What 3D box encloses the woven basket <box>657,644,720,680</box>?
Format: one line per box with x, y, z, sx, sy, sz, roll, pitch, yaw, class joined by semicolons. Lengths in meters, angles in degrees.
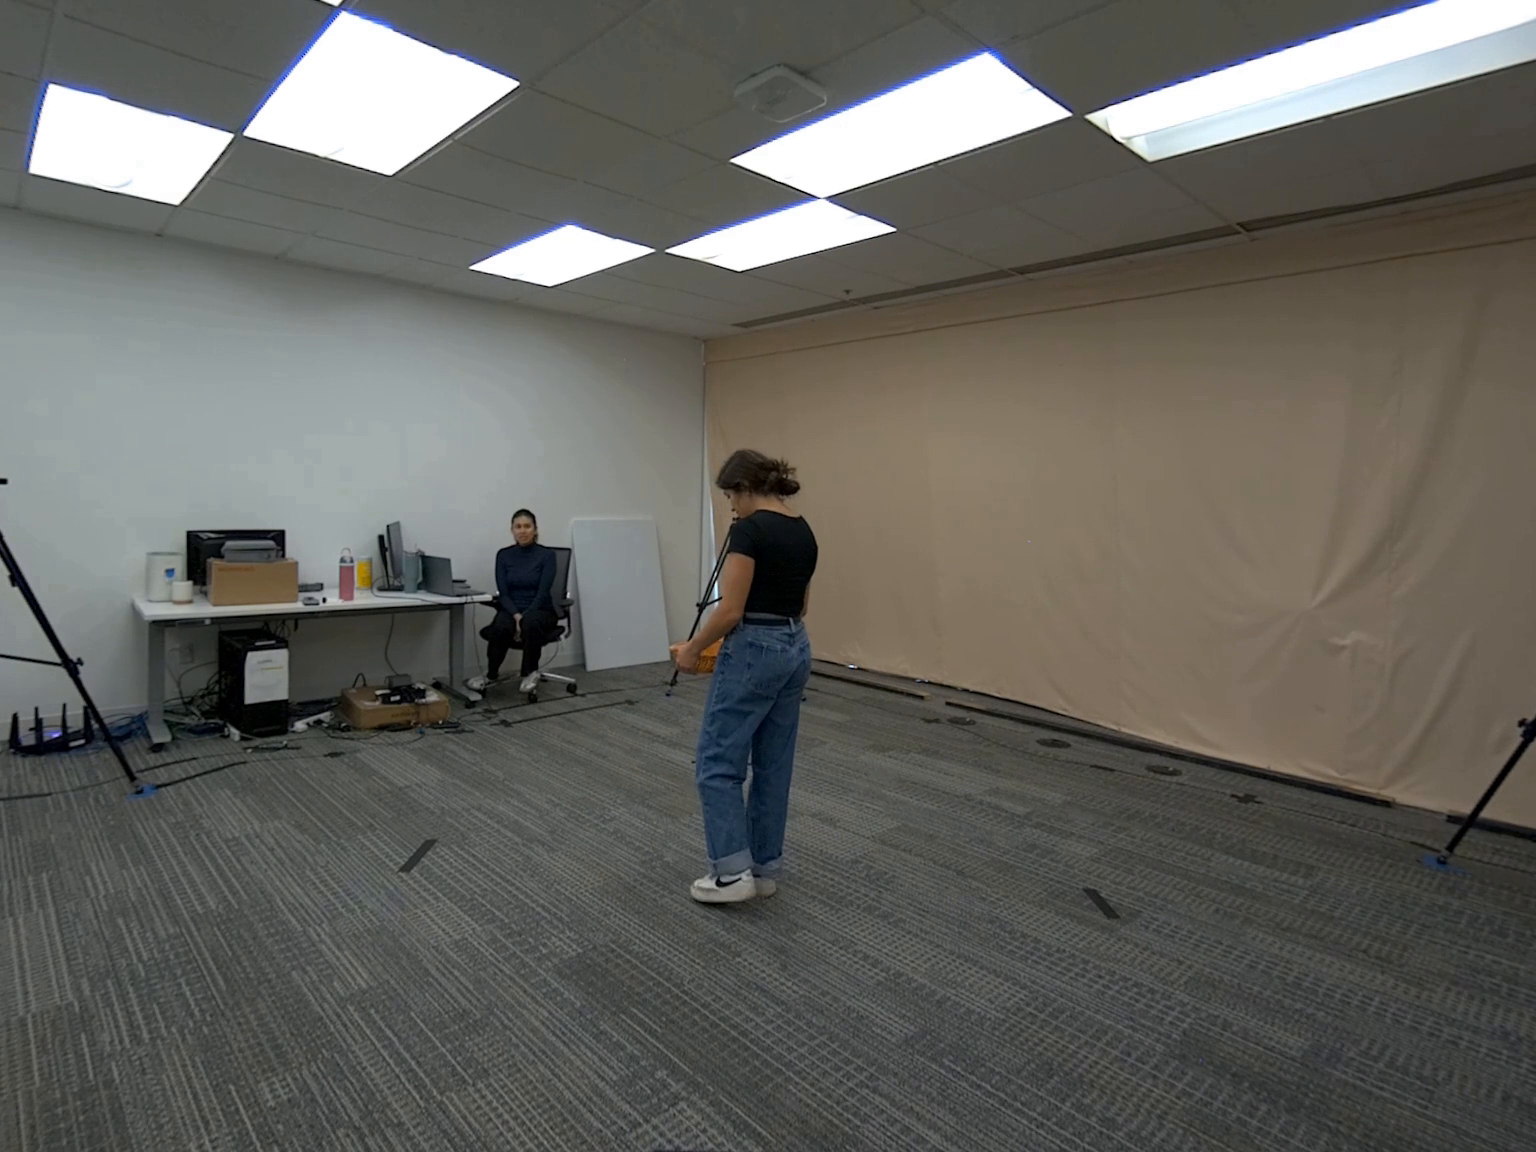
-0.194;0.300;3.126;0.259;0.073;0.342;7;6;42;woven basket
